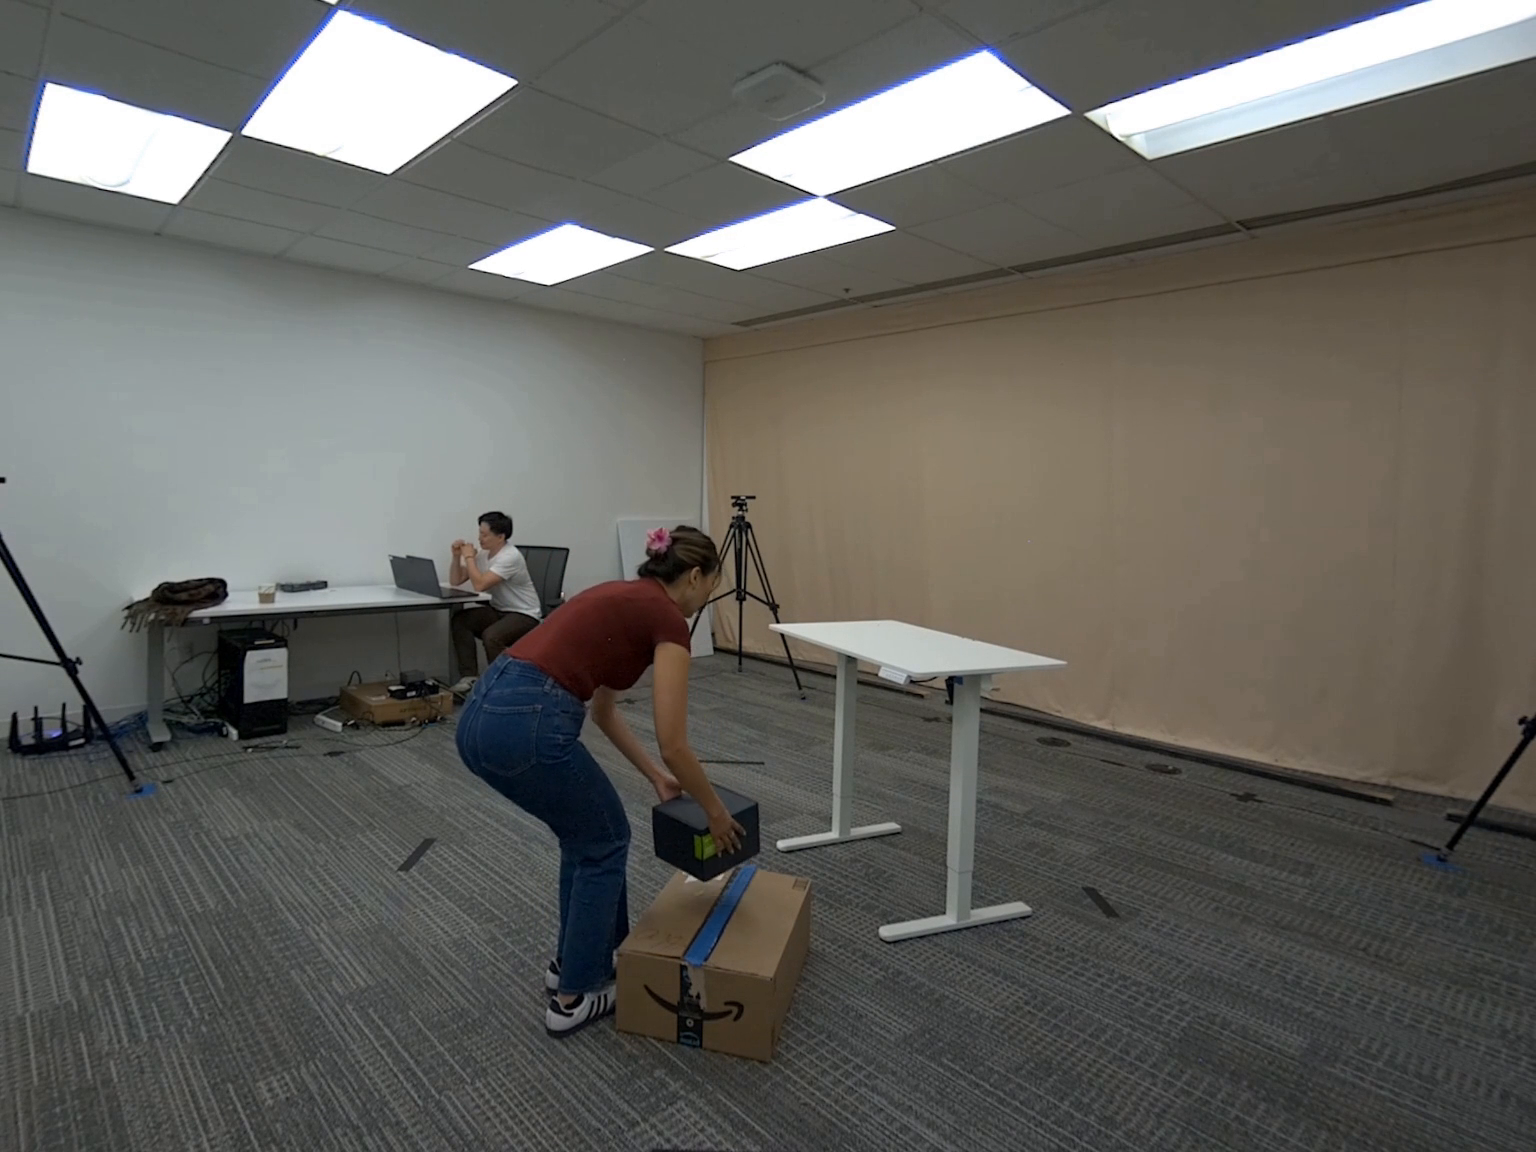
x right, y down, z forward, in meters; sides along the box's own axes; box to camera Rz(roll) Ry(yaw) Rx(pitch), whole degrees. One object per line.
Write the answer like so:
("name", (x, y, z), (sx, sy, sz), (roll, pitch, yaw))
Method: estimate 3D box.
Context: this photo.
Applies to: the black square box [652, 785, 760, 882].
("black square box", (-0.186, 0.732, 2.438), (0.223, 0.155, 0.223), (8, 14, 43))
